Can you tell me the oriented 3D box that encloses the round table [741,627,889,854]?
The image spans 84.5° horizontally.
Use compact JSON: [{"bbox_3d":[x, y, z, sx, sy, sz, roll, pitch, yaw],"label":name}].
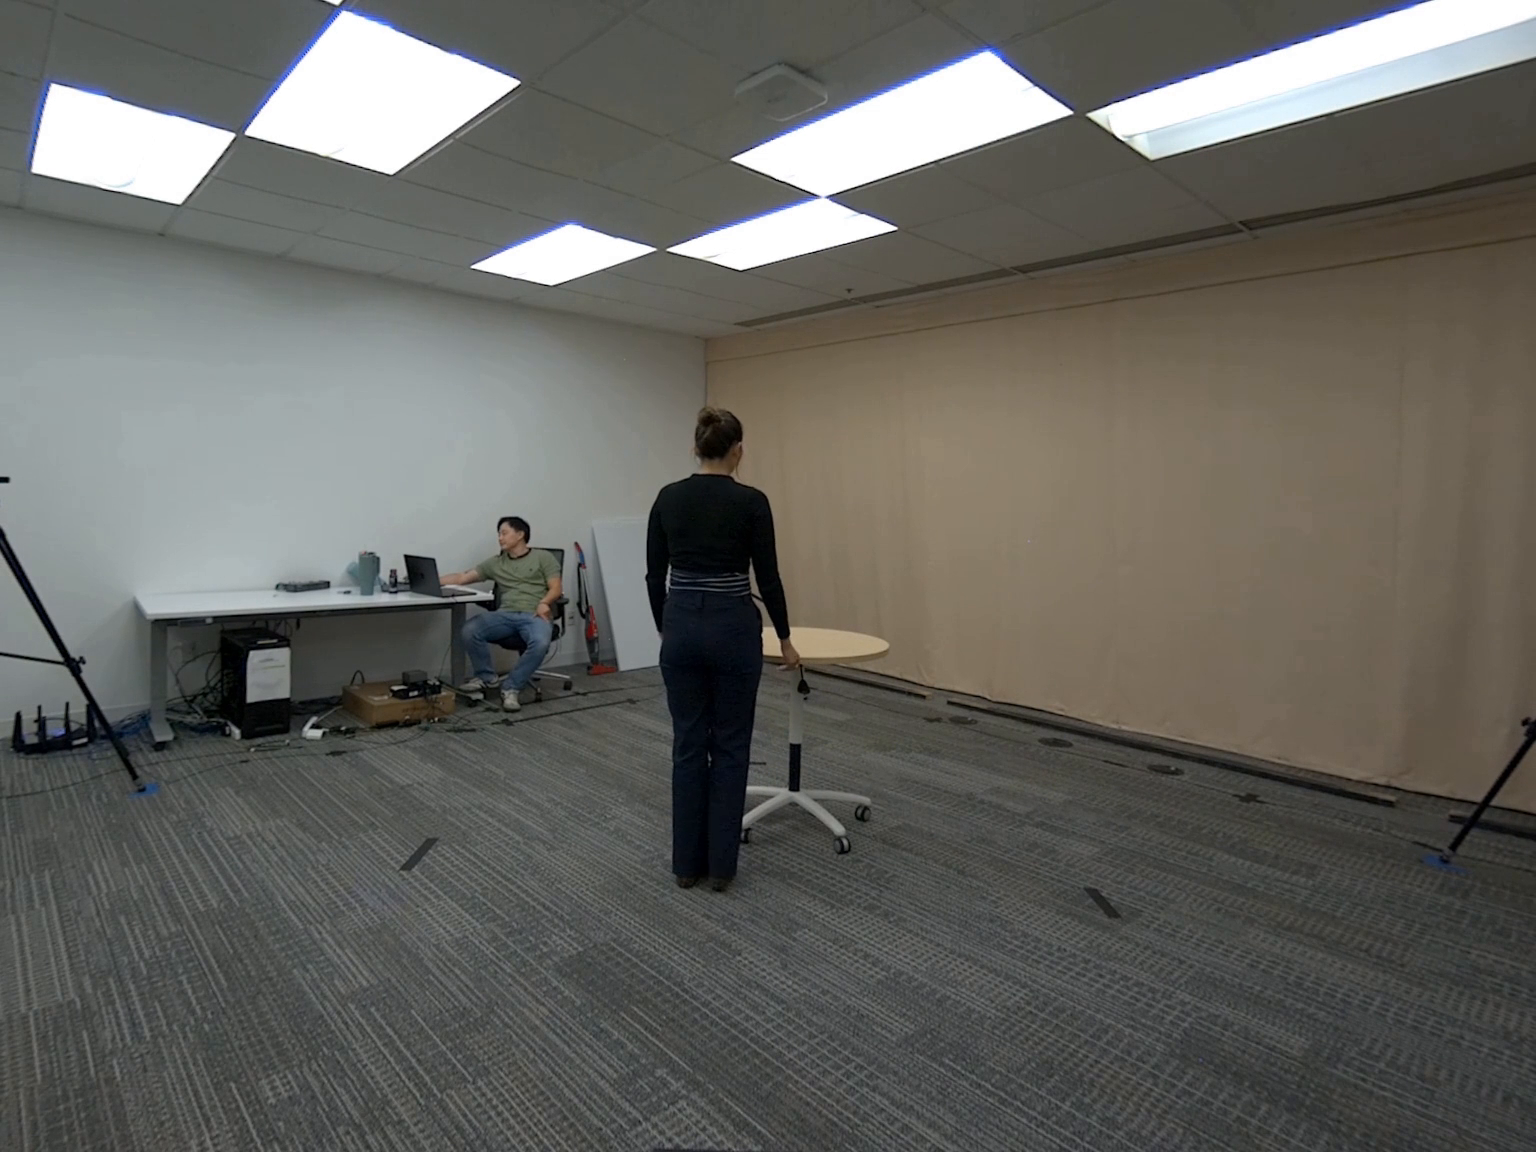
[{"bbox_3d":[0.110,0.674,3.612,0.763,0.792,0.766,2,4,-1],"label":"round table"}]
